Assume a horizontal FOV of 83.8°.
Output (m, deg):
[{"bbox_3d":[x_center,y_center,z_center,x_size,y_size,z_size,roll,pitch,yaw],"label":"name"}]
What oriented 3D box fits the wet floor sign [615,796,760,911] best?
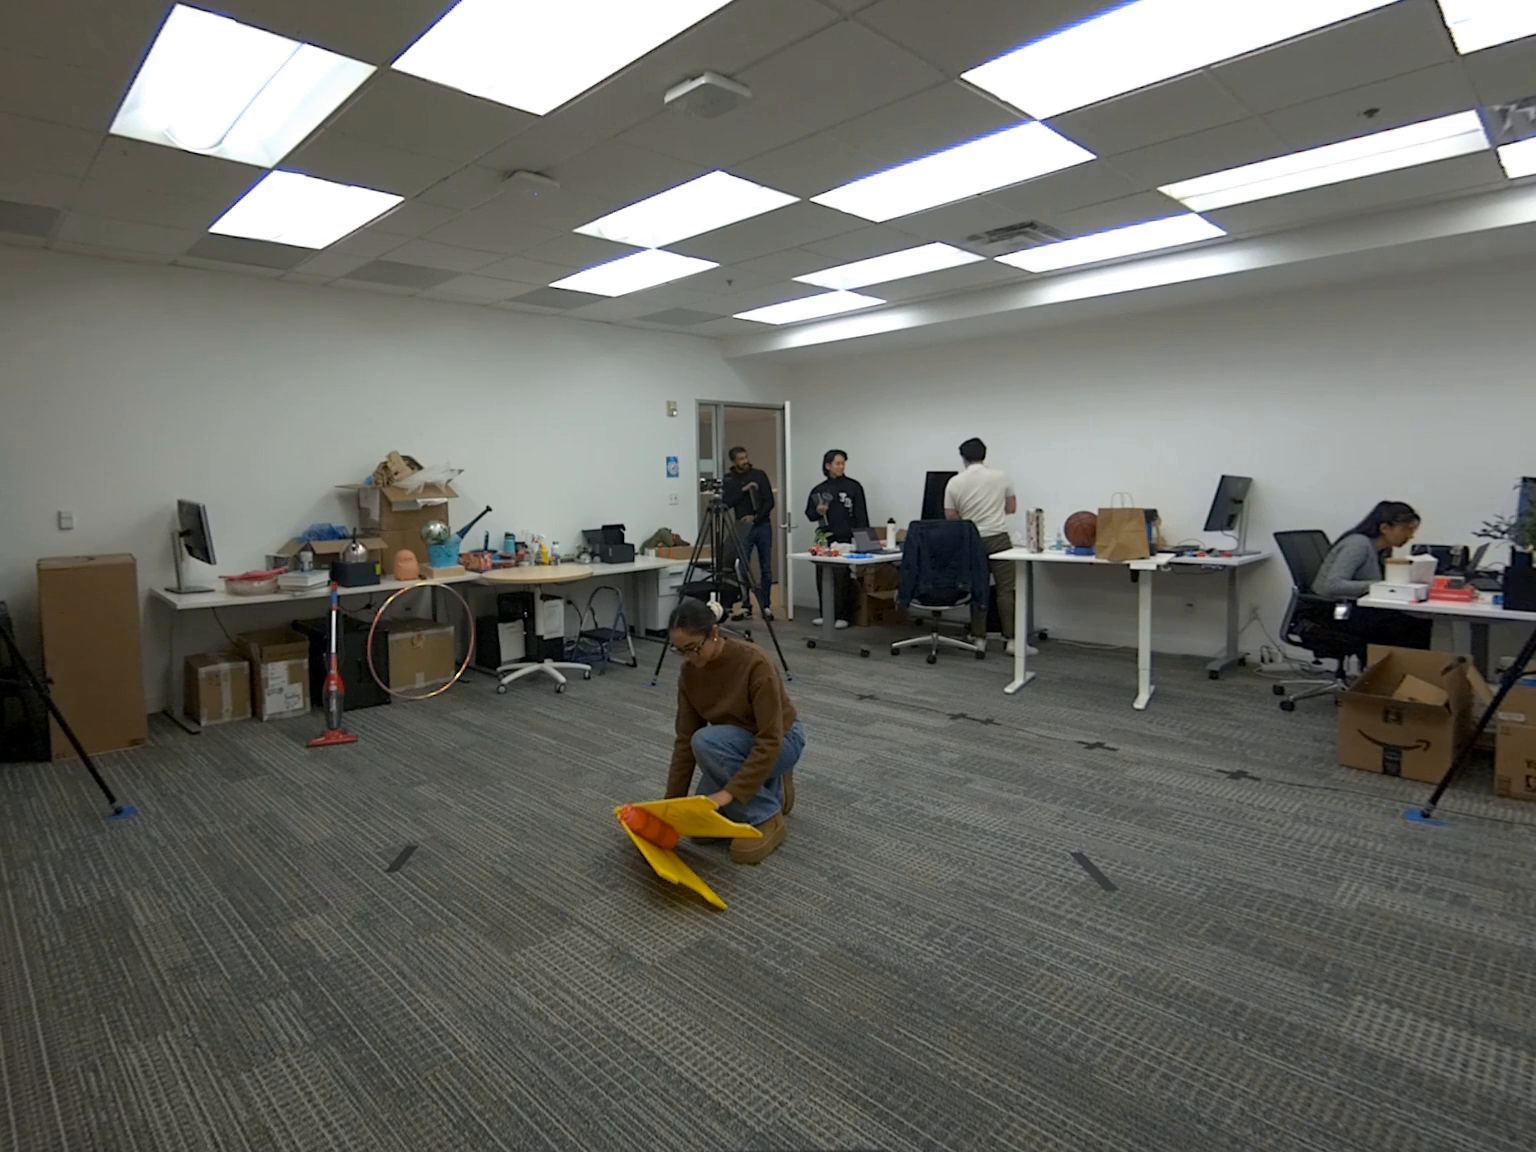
[{"bbox_3d":[-0.346,0.939,3.048,0.275,0.292,0.659,38,-23,-23],"label":"wet floor sign"}]
